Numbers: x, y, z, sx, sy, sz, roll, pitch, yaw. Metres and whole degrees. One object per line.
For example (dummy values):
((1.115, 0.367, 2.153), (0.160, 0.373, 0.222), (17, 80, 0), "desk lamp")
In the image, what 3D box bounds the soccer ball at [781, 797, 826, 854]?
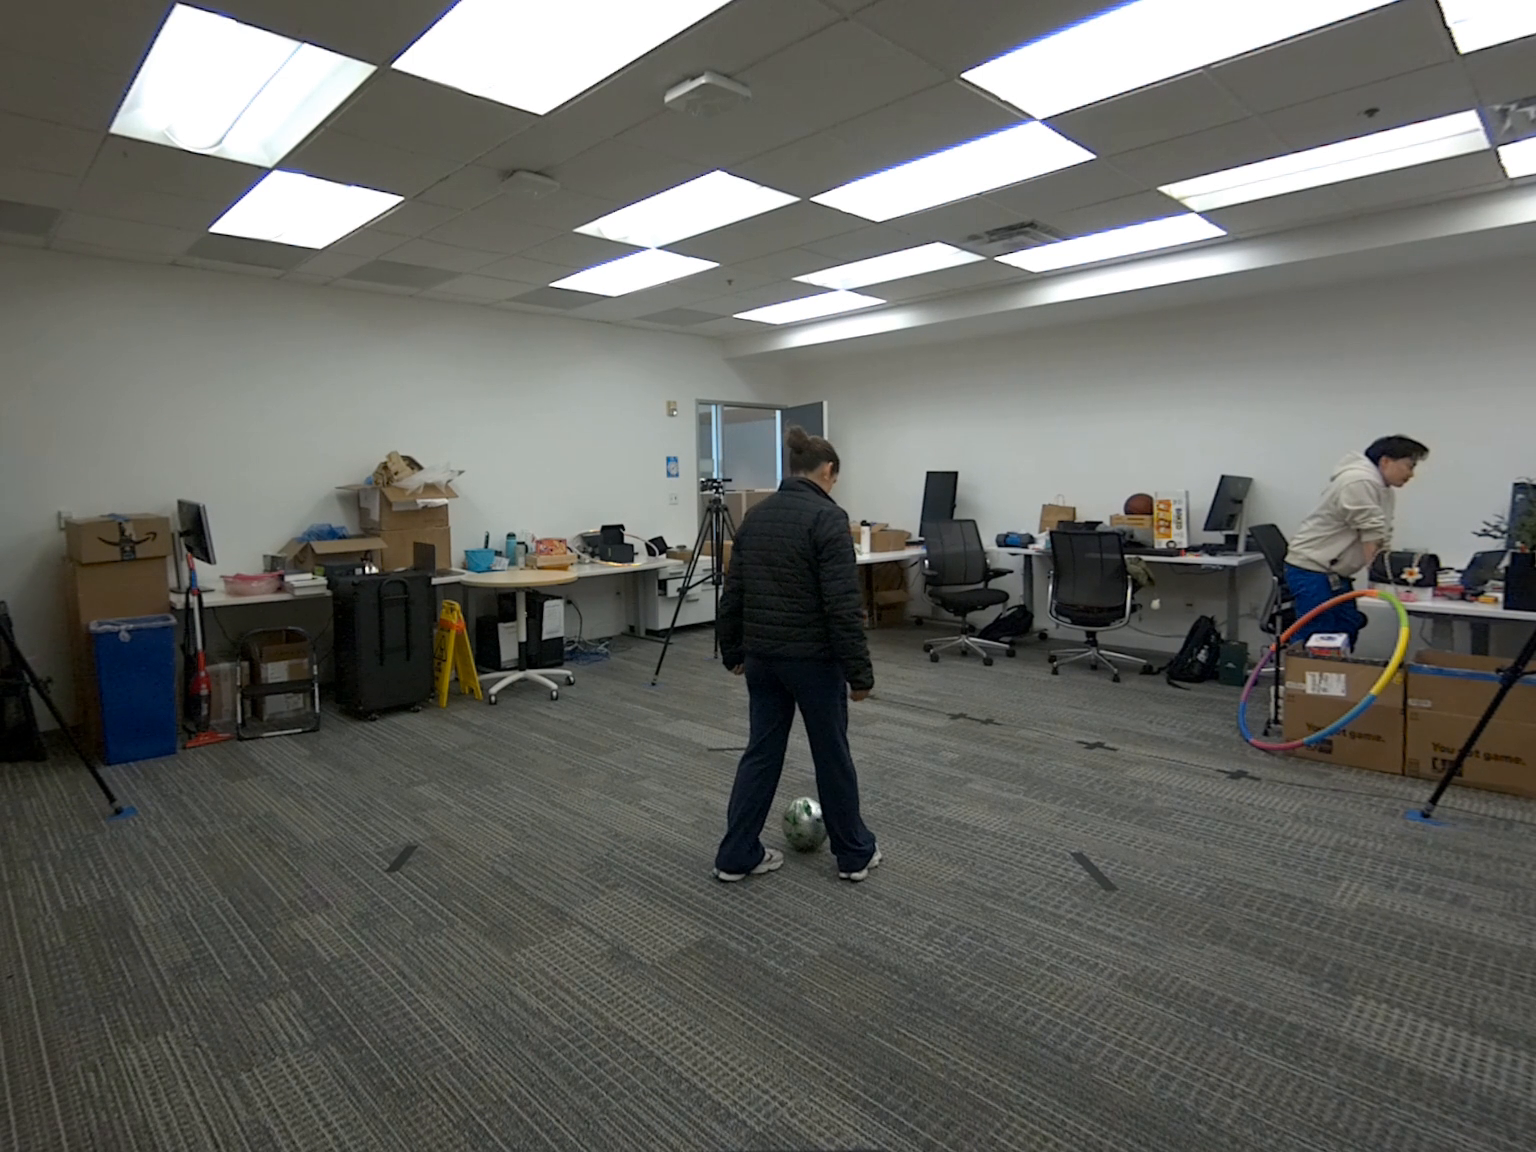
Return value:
((0.151, 0.933, 3.225), (0.187, 0.187, 0.188), (-1, 5, -2), "soccer ball")
